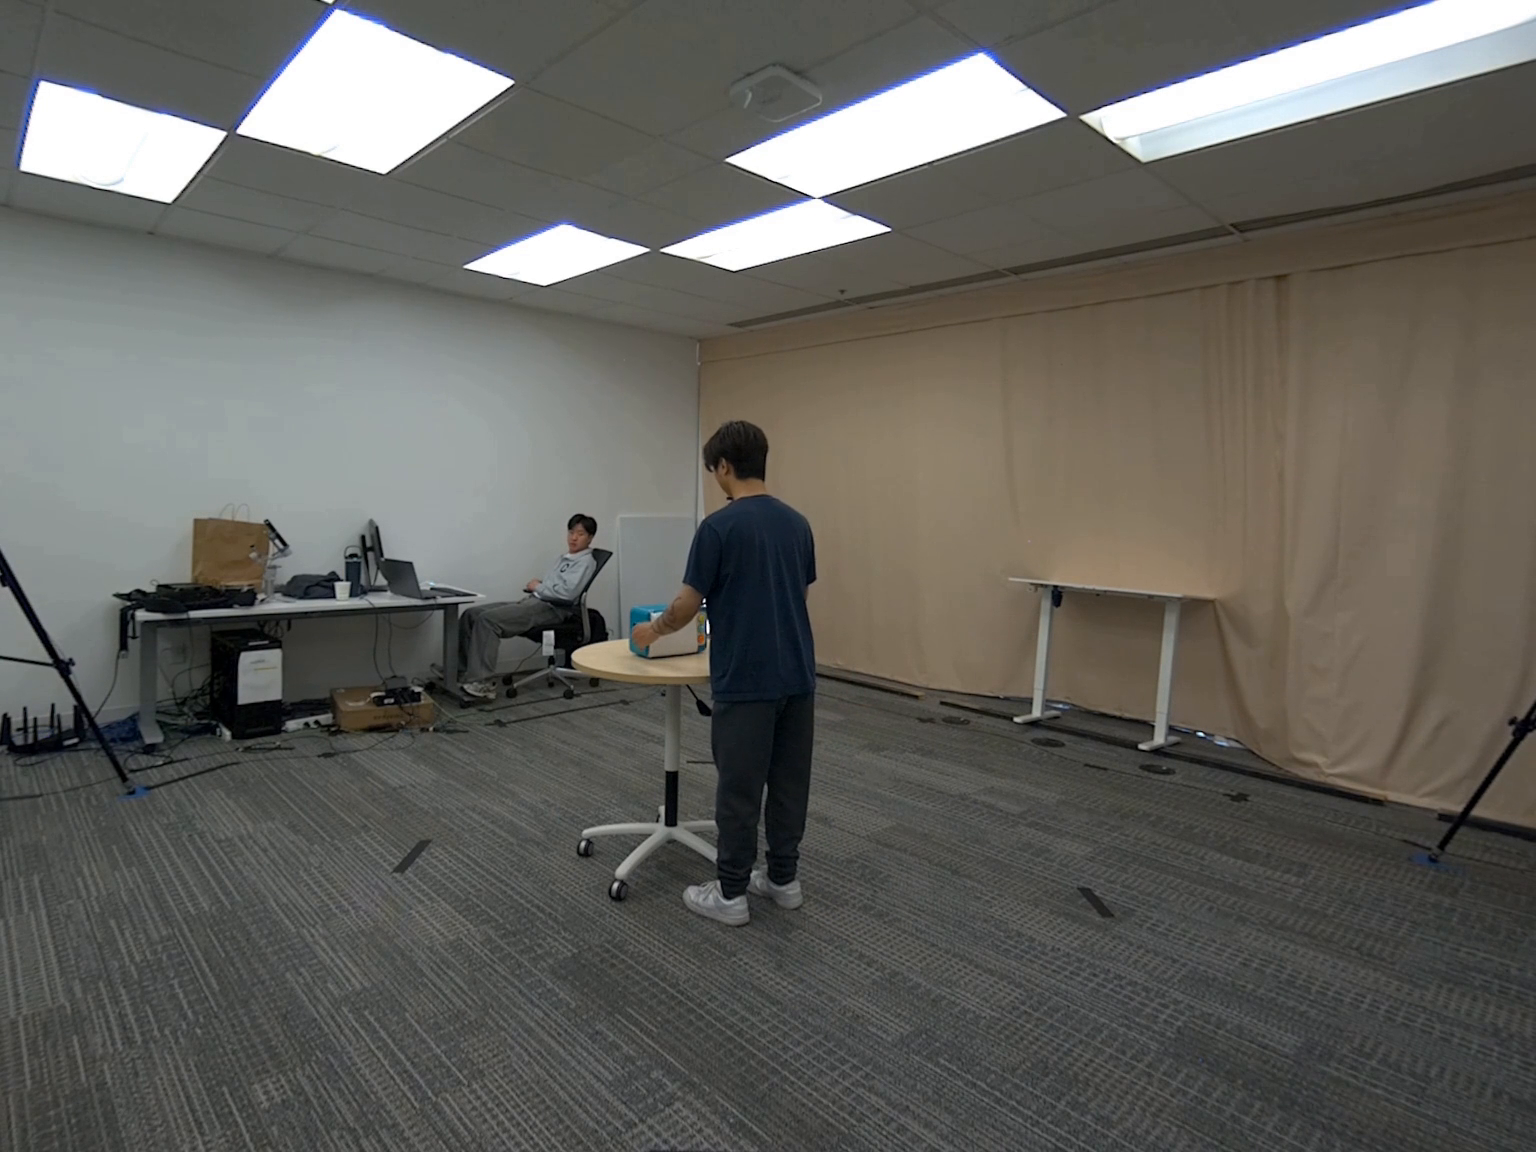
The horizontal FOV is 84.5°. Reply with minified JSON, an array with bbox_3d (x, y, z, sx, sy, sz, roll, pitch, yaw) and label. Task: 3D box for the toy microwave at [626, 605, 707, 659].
[{"bbox_3d":[-0.383,0.207,3.184,0.280,0.183,0.156,-3,6,-39],"label":"toy microwave"}]
